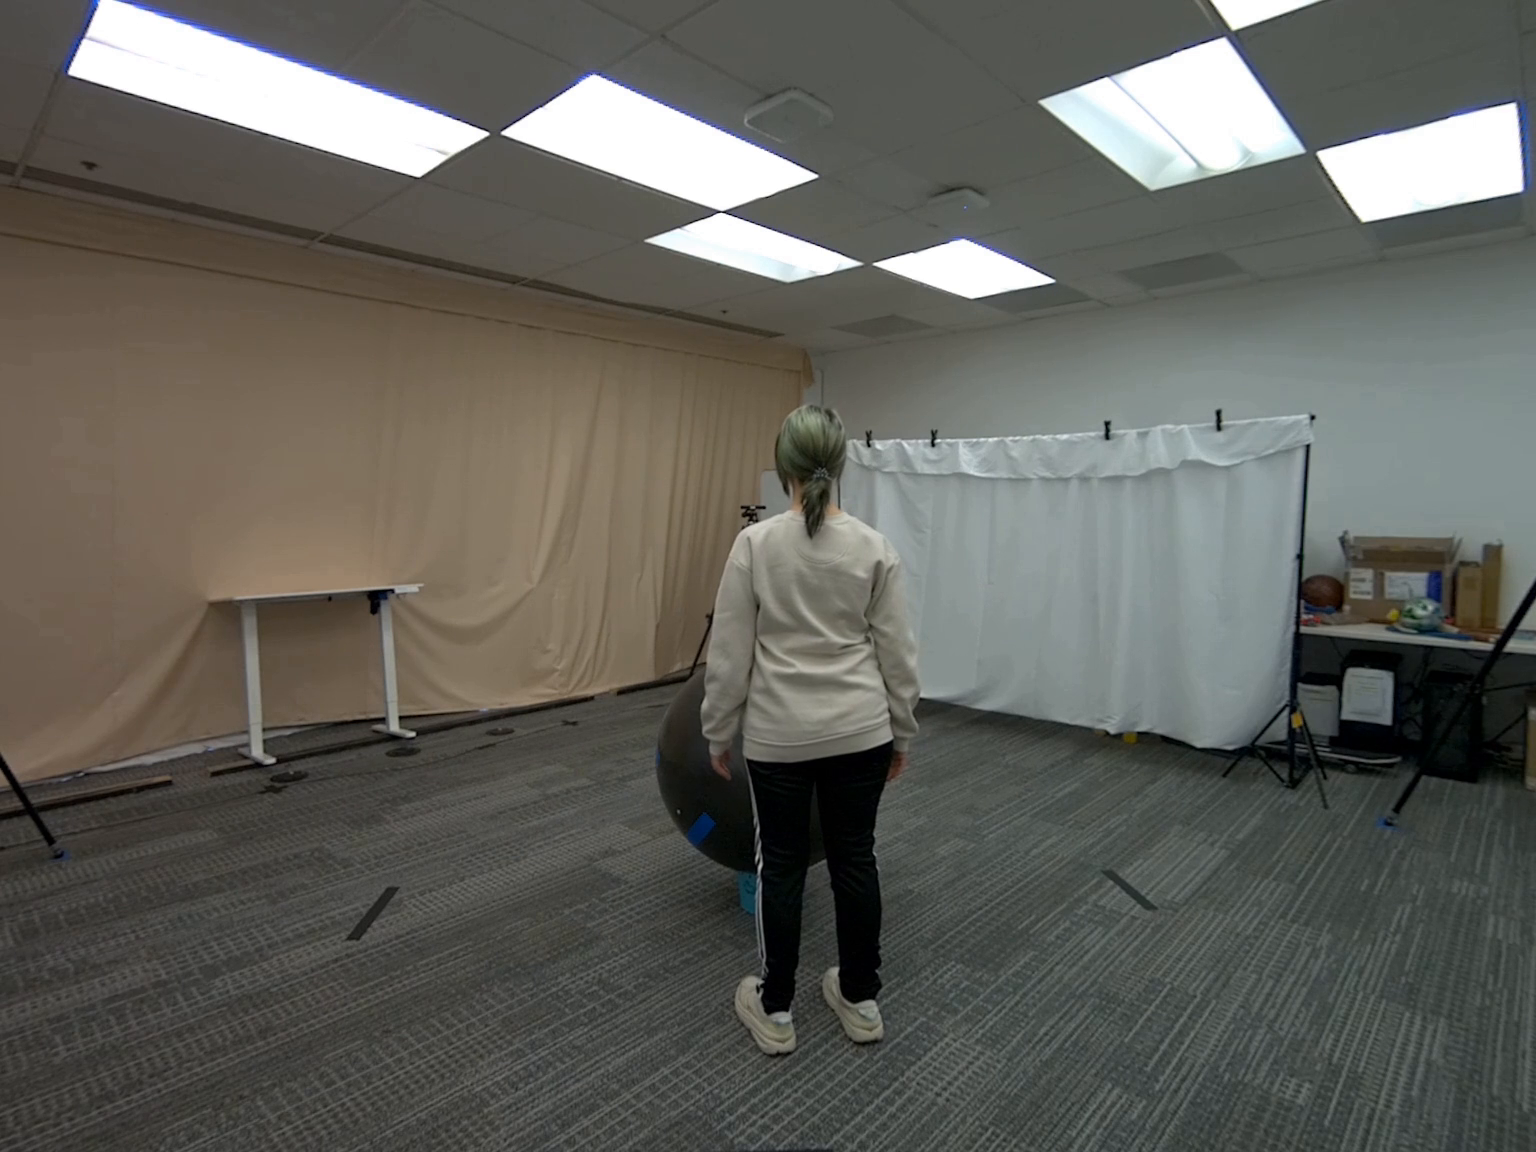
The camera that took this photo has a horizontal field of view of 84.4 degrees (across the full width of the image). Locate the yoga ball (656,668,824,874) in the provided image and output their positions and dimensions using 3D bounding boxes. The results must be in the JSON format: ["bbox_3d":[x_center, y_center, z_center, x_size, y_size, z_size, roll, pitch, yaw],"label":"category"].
[{"bbox_3d":[-0.006,0.635,2.934,0.757,0.756,0.760,0,4,-2],"label":"yoga ball"}]
